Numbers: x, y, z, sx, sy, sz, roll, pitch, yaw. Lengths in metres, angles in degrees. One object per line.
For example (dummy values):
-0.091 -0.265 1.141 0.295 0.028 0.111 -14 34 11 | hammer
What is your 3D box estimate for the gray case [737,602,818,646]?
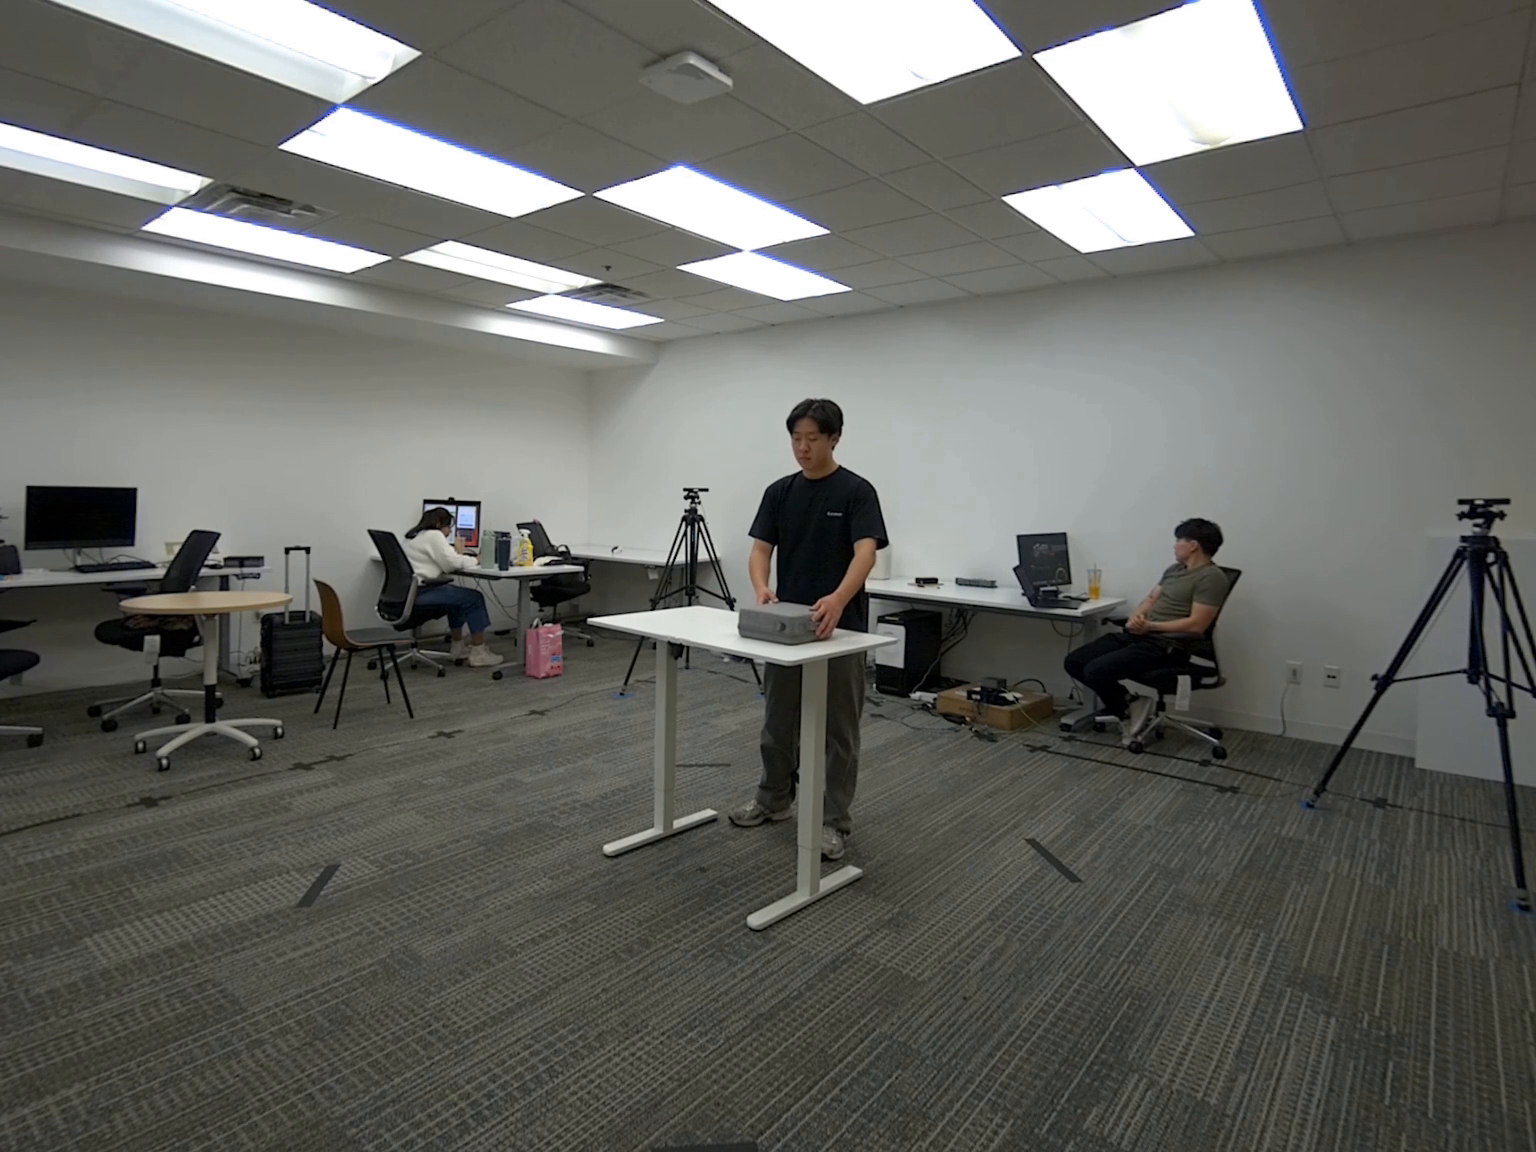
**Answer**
0.058 0.159 2.932 0.297 0.102 0.255 6 8 42 | gray case
